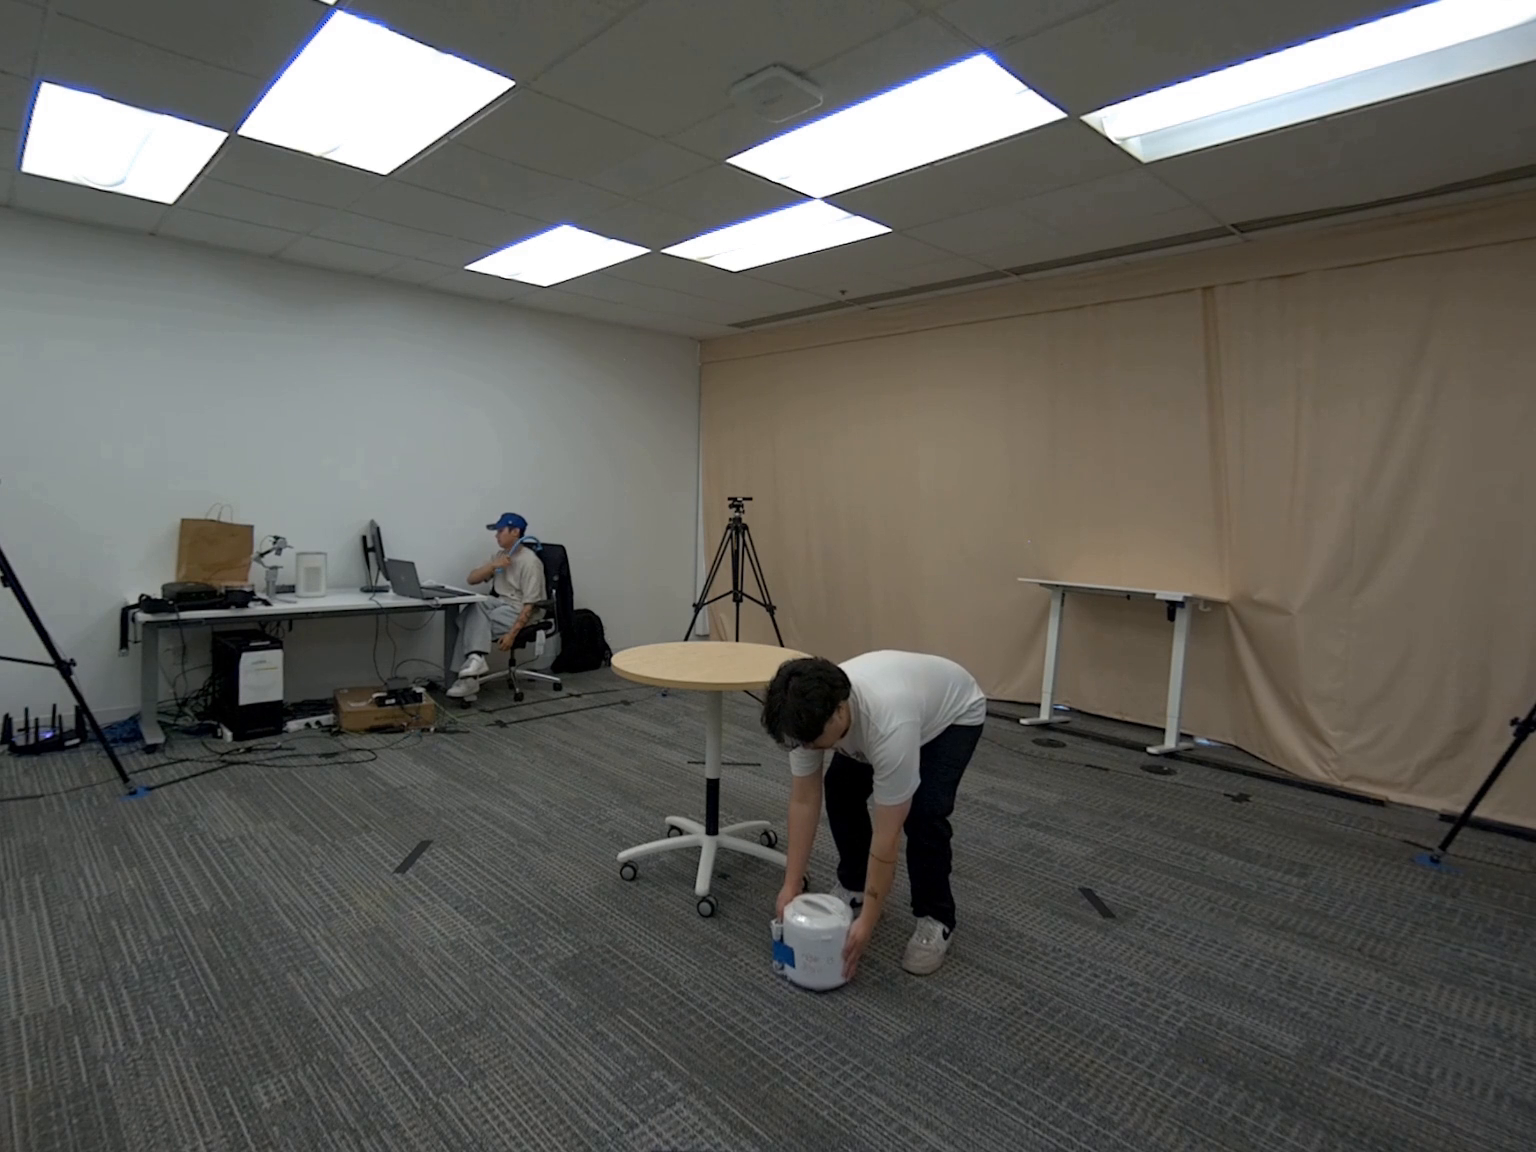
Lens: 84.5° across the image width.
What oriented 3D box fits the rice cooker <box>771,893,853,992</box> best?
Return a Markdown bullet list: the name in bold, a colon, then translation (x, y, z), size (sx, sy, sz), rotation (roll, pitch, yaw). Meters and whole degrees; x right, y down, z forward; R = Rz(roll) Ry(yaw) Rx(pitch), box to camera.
- **rice cooker**: translation (0.146, 1.048, 2.465), size (0.226, 0.232, 0.212), rotation (1, 3, 44)
